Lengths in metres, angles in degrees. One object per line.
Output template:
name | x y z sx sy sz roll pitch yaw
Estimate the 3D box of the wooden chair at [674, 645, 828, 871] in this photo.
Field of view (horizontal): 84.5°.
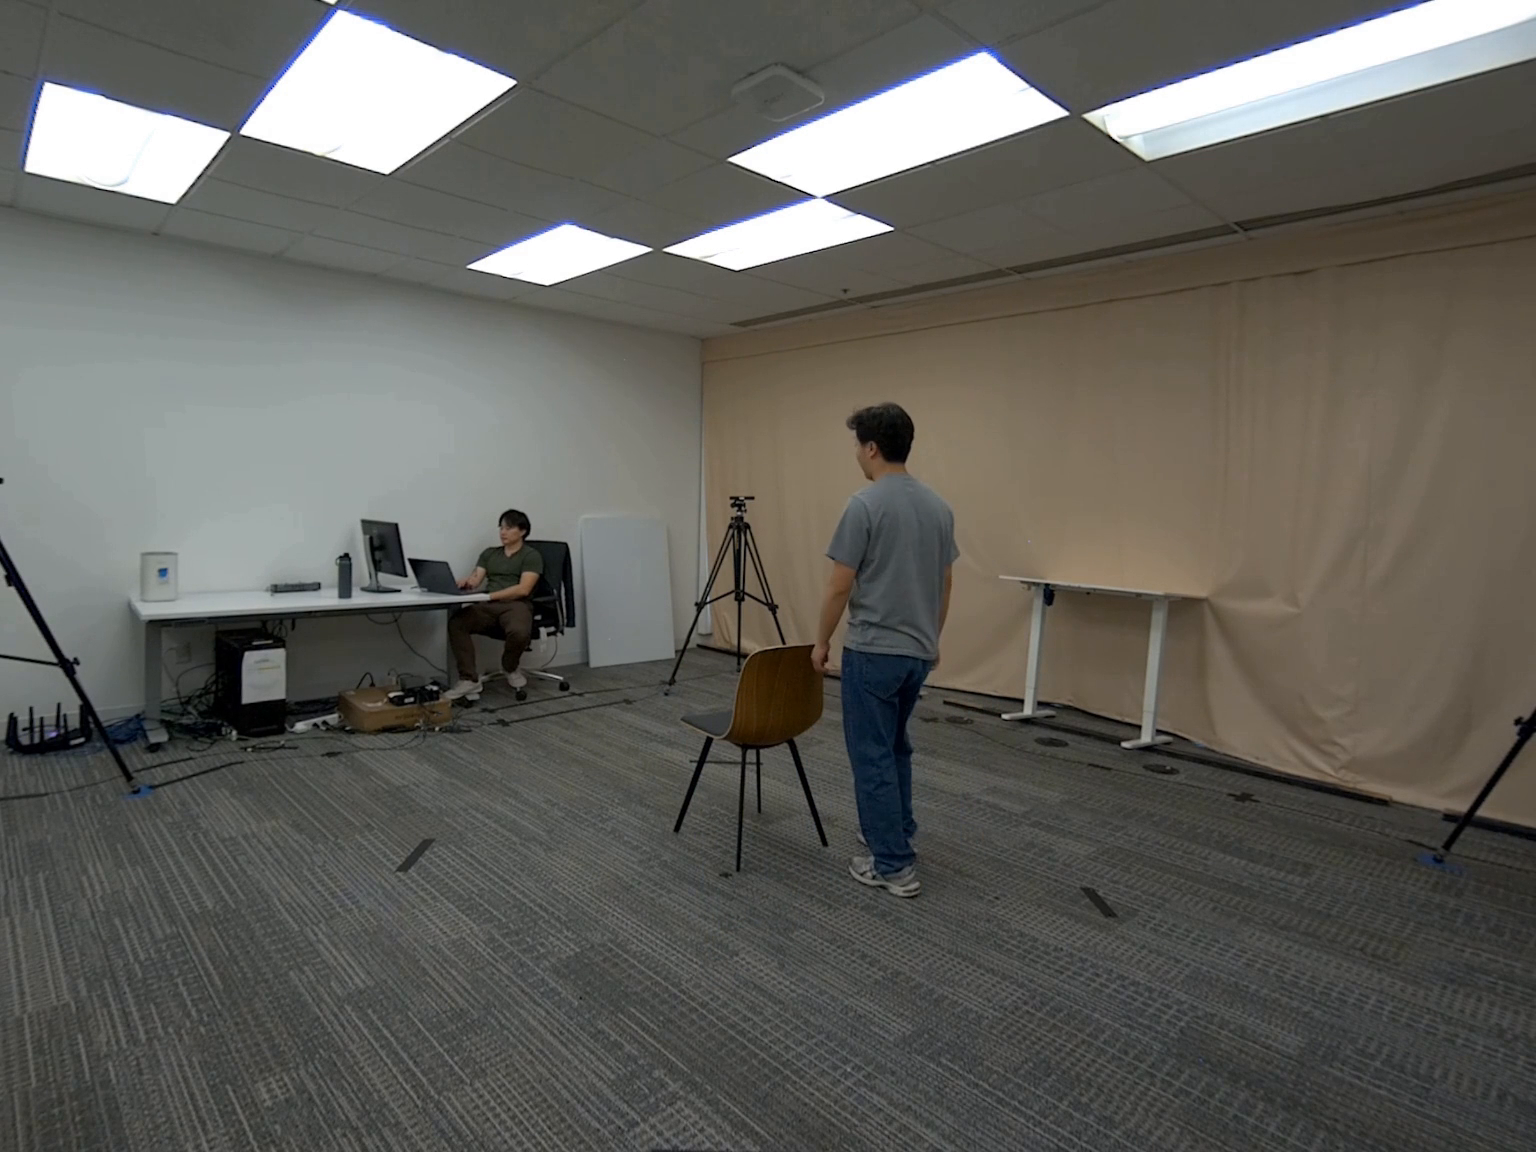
wooden chair | -0.076 0.650 3.415 0.467 0.873 0.537 -1 9 -36
